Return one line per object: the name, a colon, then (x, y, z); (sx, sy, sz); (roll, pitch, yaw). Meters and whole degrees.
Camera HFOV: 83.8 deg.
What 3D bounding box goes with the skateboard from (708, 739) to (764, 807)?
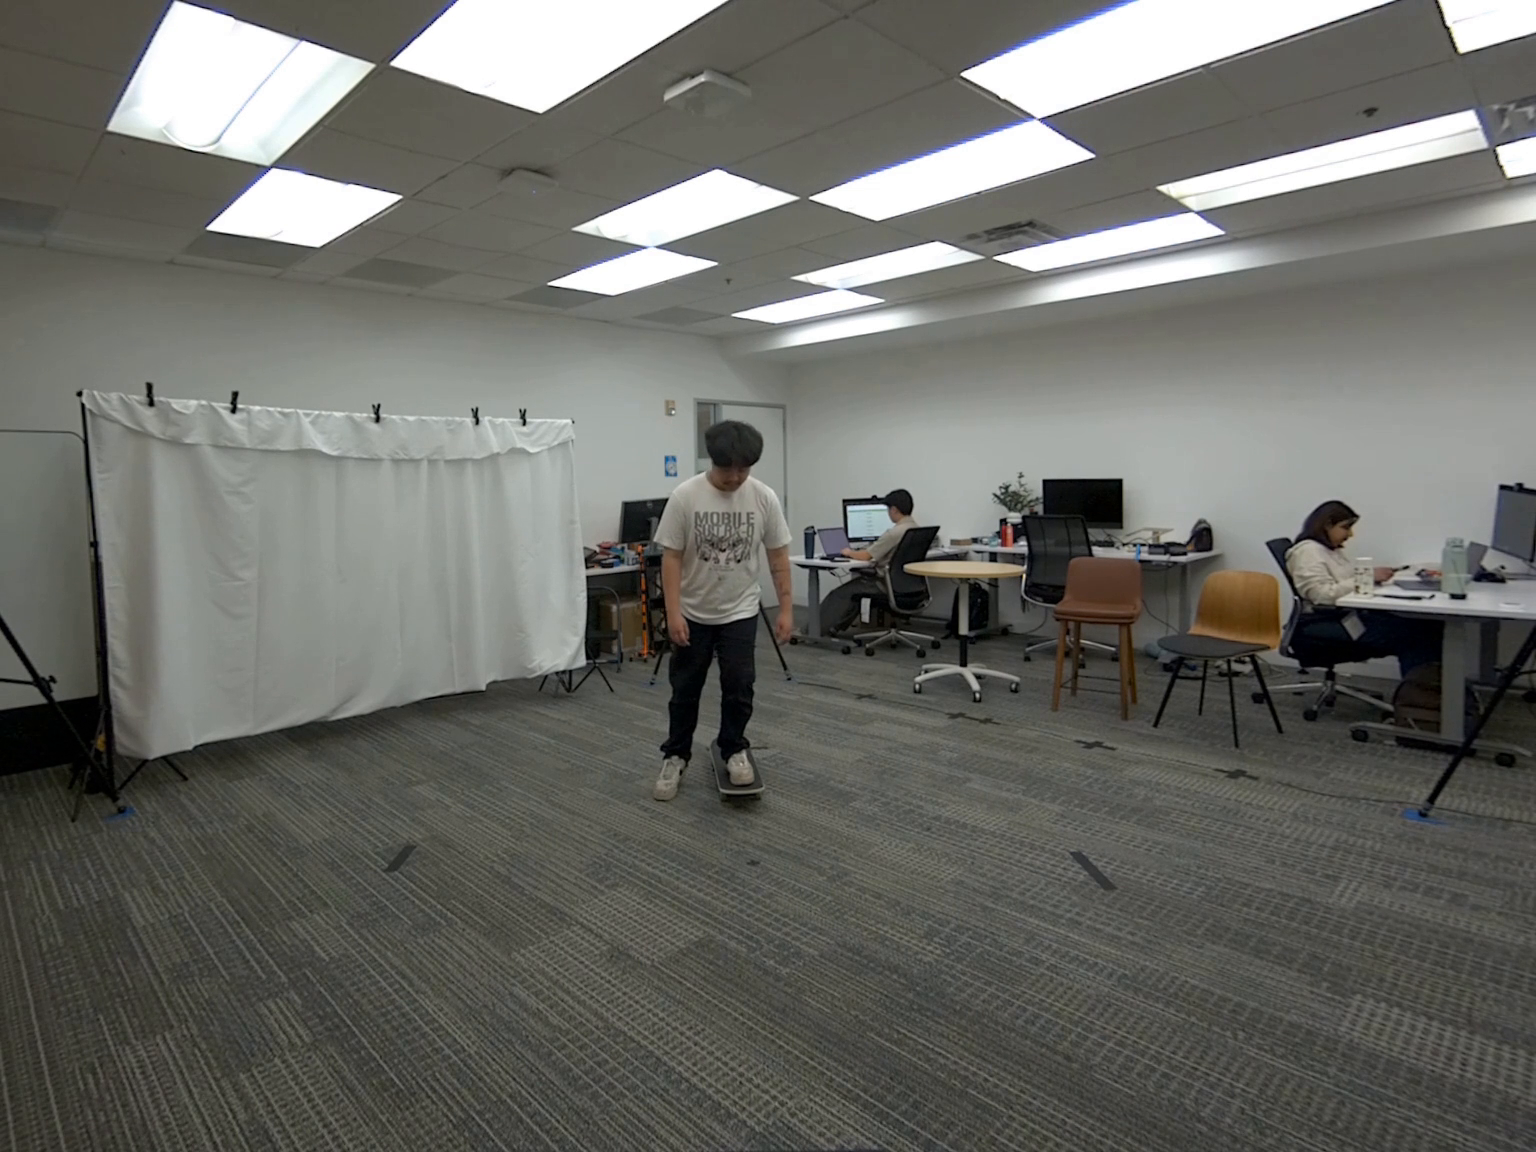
skateboard: (-0.150, 0.894, 3.912); (0.192, 0.110, 0.794); (-3, 7, -8)
